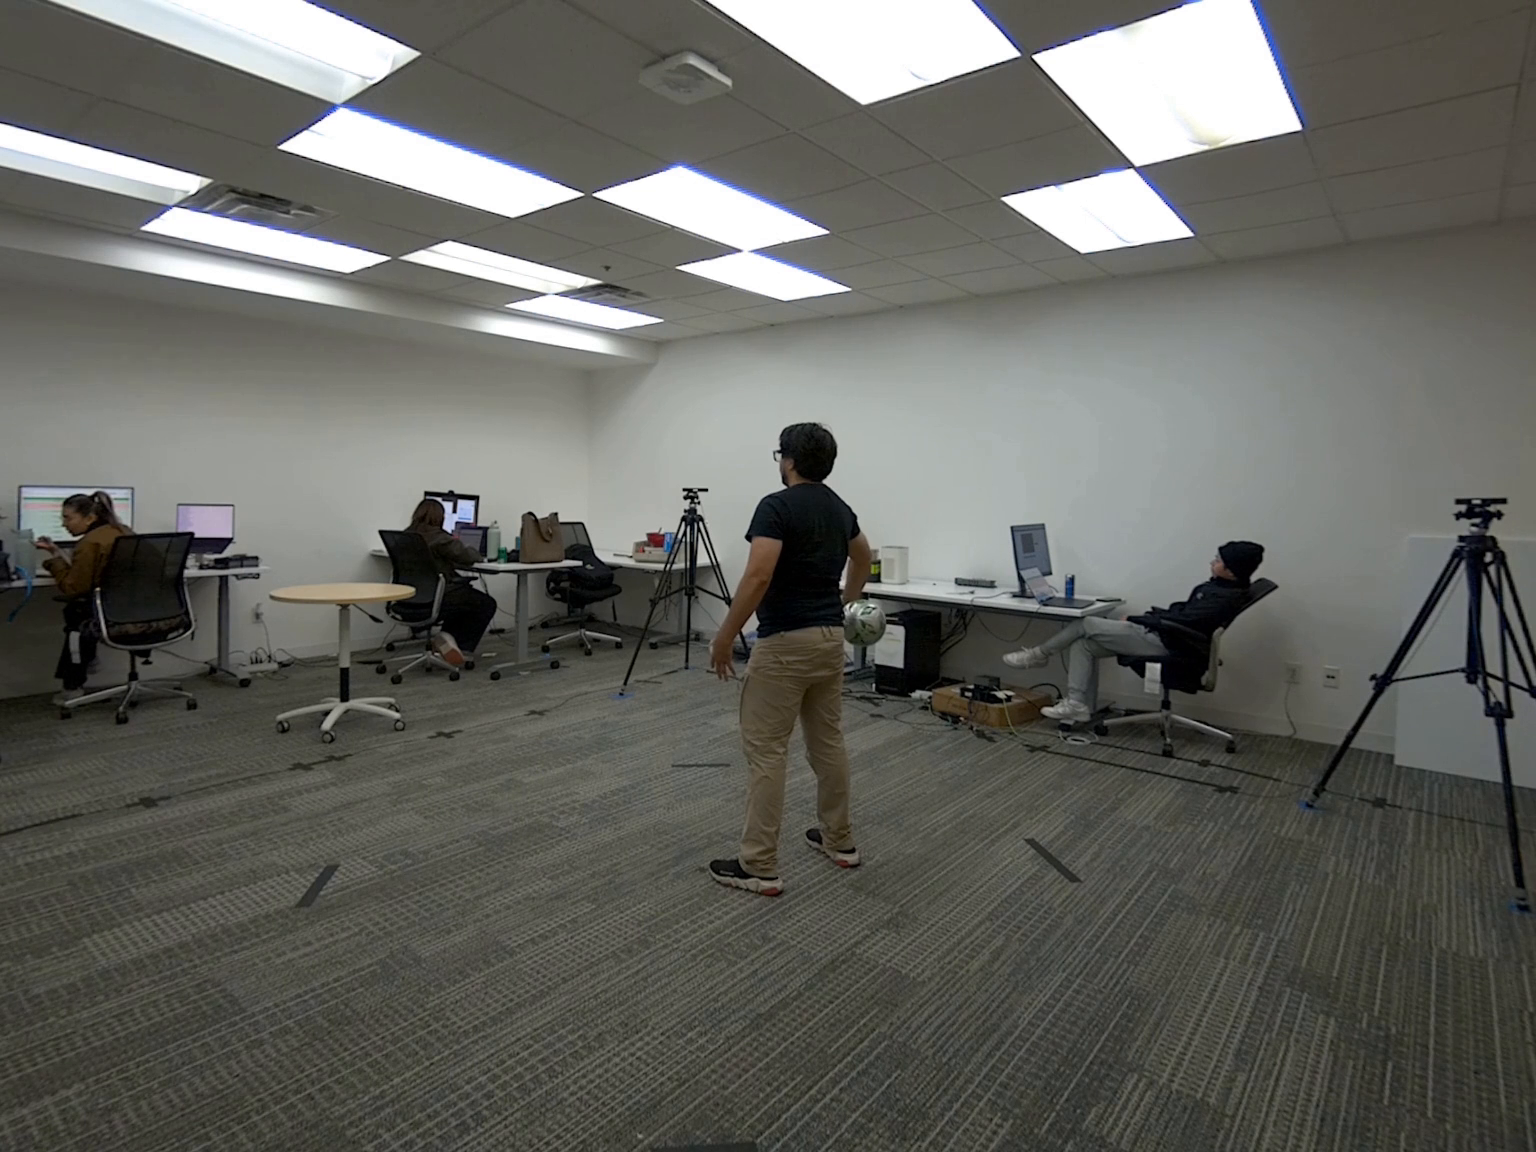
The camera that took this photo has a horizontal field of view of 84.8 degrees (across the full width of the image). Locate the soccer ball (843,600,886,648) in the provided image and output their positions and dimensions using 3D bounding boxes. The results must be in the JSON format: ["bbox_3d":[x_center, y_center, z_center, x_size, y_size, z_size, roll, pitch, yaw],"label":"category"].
[{"bbox_3d":[0.354,0.179,3.365,0.187,0.187,0.188,1,4,-2],"label":"soccer ball"}]
